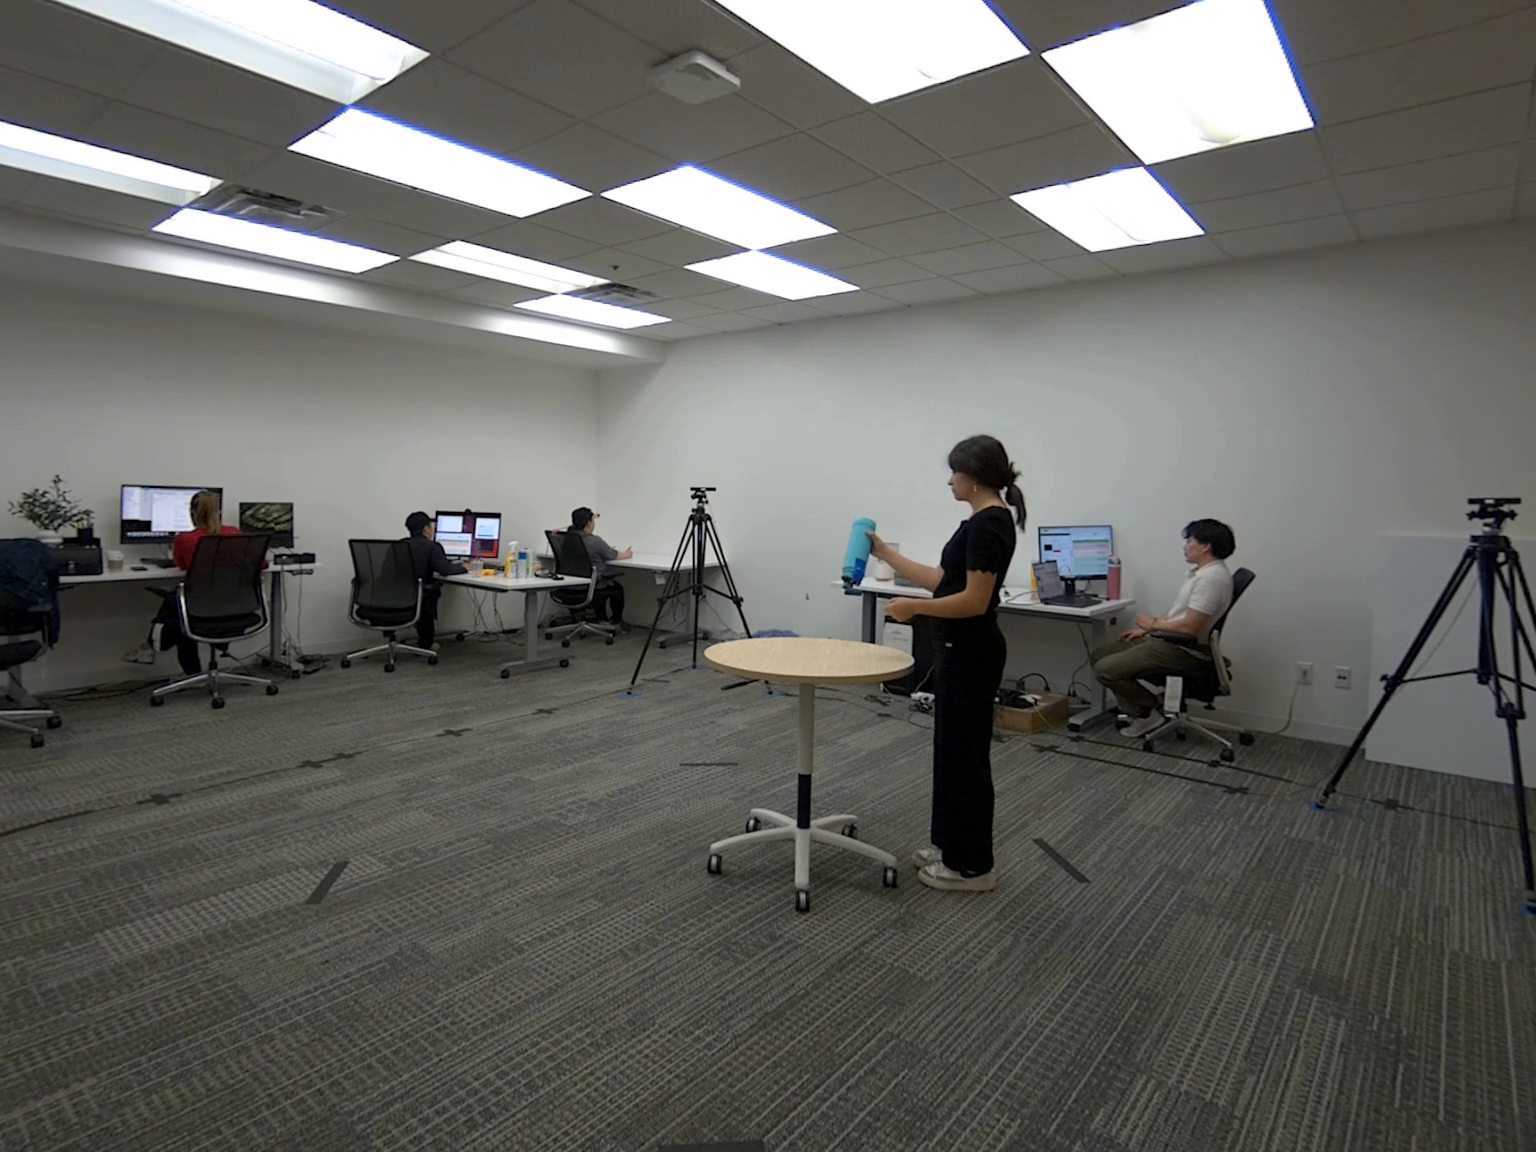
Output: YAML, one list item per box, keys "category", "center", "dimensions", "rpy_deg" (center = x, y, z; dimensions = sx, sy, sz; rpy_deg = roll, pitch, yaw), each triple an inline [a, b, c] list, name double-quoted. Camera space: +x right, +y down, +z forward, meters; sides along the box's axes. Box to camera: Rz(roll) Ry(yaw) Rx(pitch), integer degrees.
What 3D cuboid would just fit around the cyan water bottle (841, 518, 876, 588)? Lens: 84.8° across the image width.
- category: "cyan water bottle"
  center: [0.343, -0.088, 3.314]
  dimensions: [0.093, 0.287, 0.090]
  rpy_deg: [15, -21, 4]
